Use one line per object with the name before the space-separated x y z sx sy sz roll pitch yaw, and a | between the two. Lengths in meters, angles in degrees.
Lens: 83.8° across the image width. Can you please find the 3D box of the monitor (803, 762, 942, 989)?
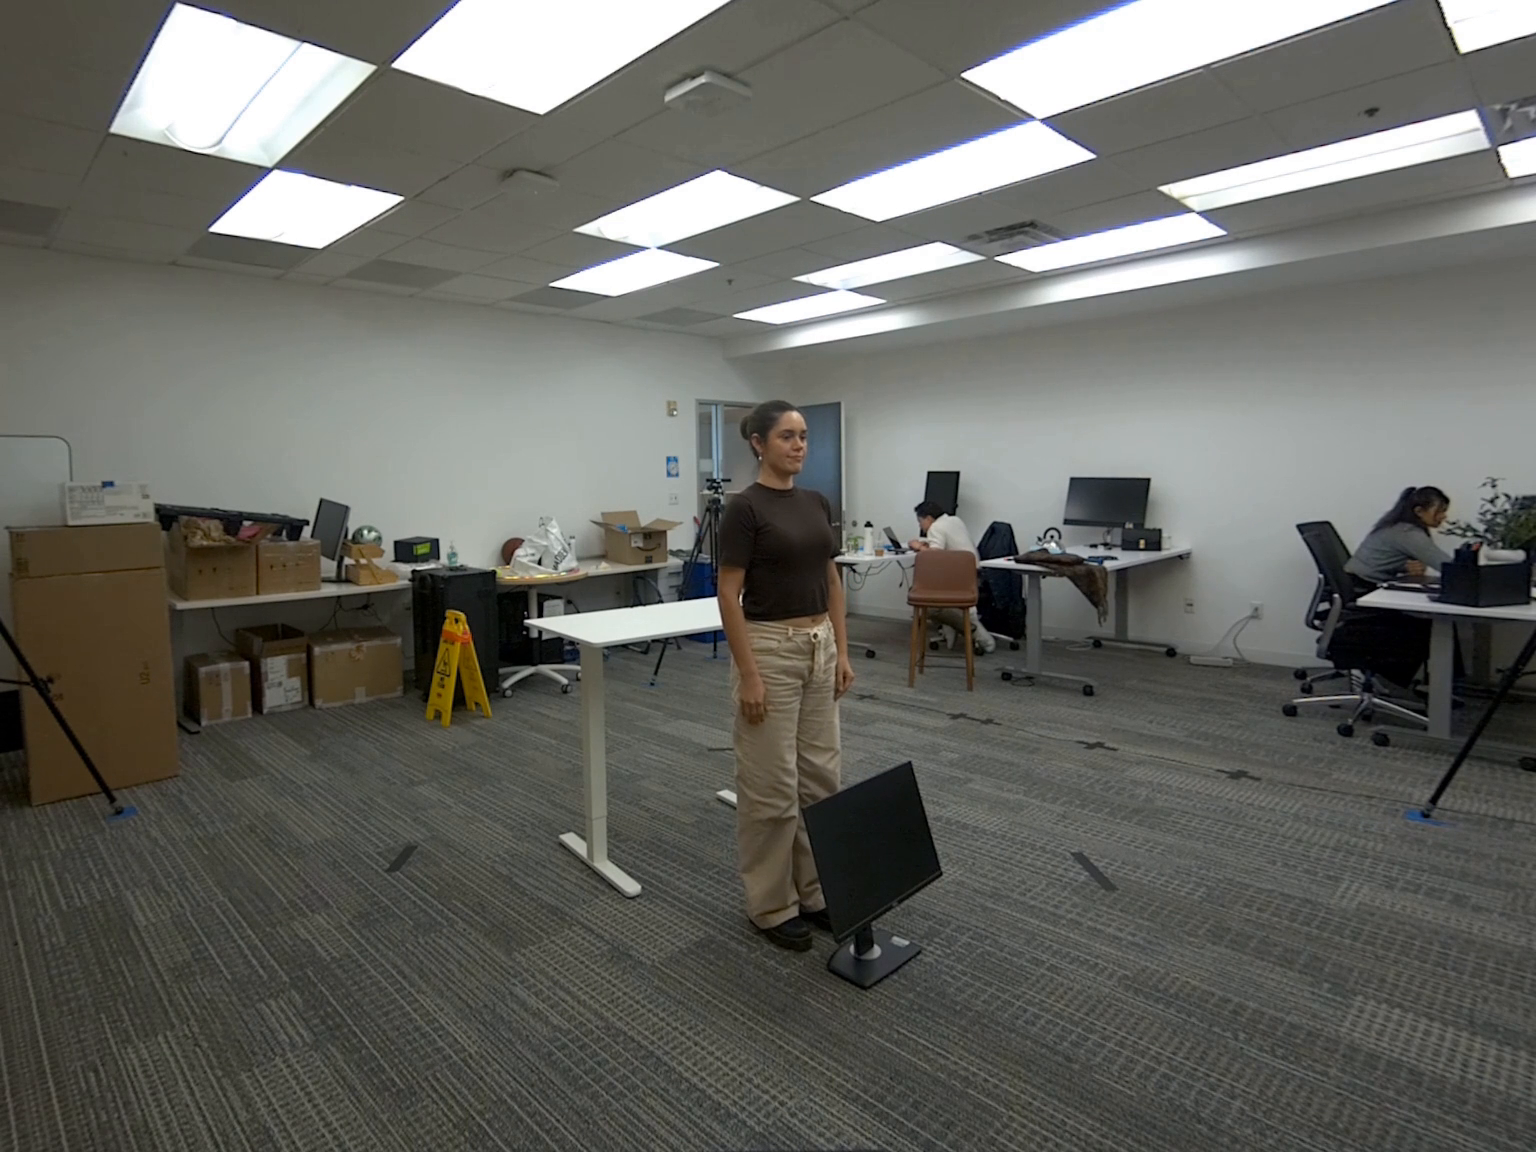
monitor | 0.294 0.859 2.467 0.192 0.522 0.525 -1 3 41
